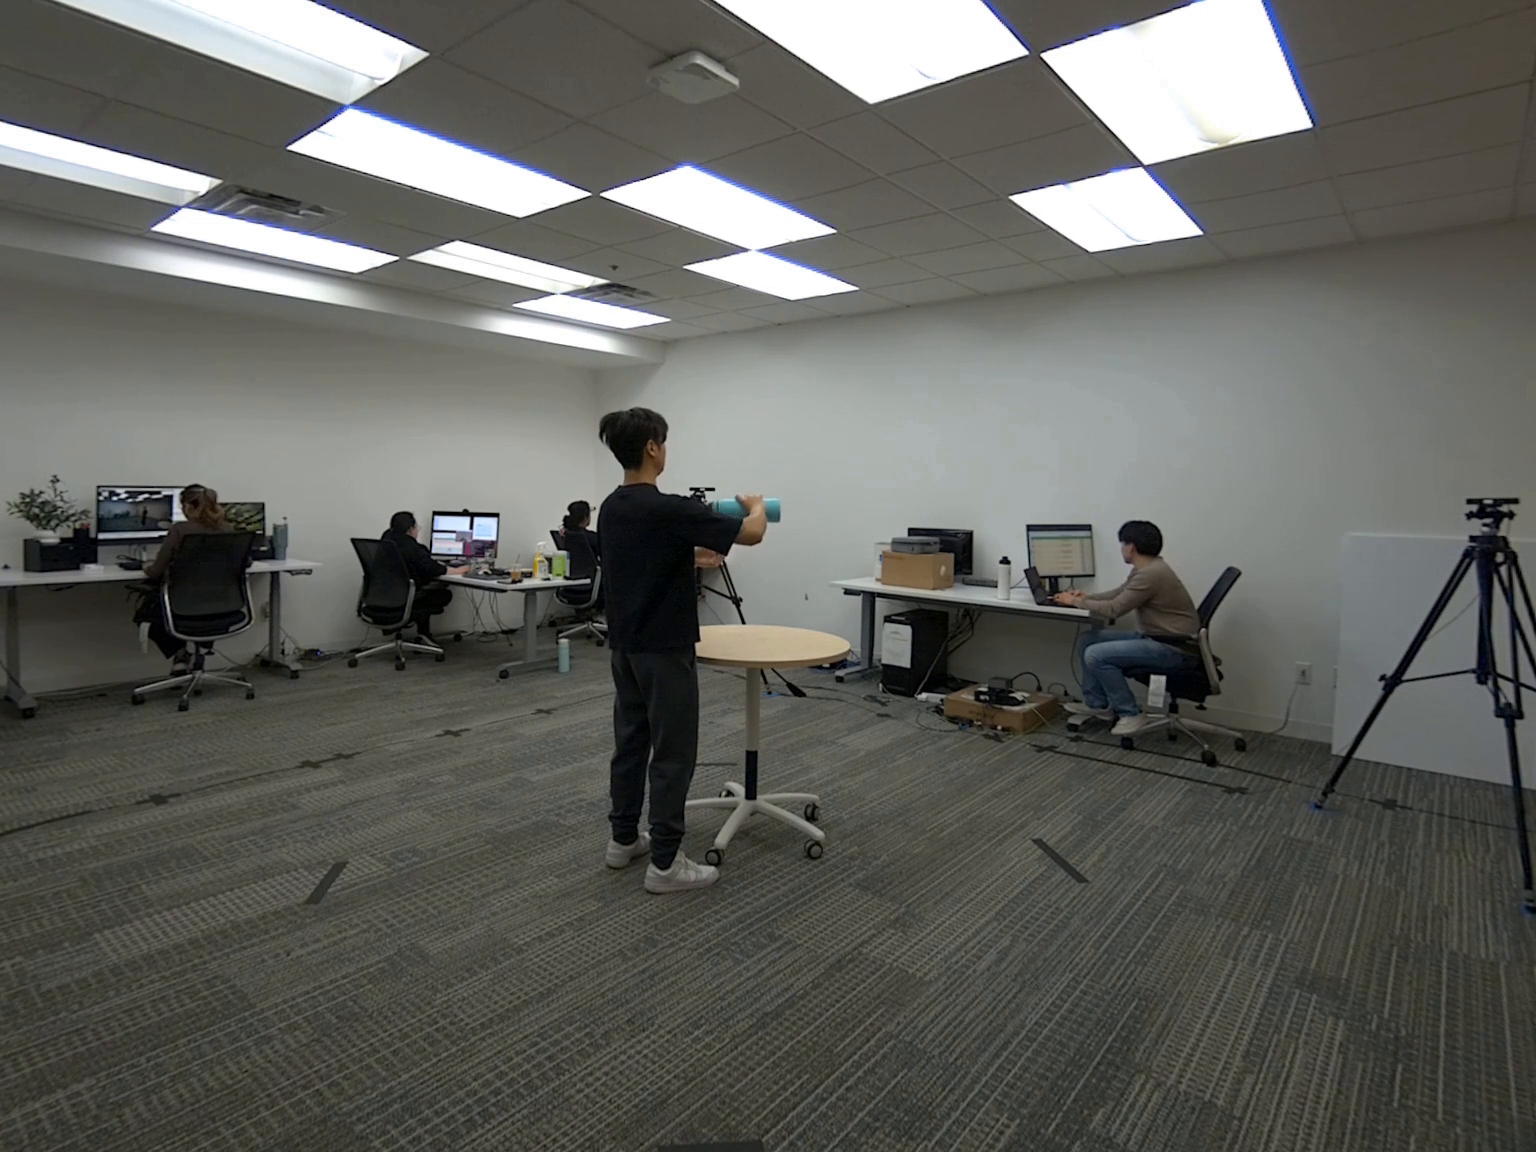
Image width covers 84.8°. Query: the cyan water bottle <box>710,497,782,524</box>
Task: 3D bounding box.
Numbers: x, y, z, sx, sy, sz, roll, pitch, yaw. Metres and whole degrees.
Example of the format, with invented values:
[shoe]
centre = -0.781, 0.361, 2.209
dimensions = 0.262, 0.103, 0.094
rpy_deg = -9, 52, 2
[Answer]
[cyan water bottle]
centre = -0.104, -0.237, 3.173
dimensions = 0.282, 0.092, 0.093
rpy_deg = -1, 4, -5
